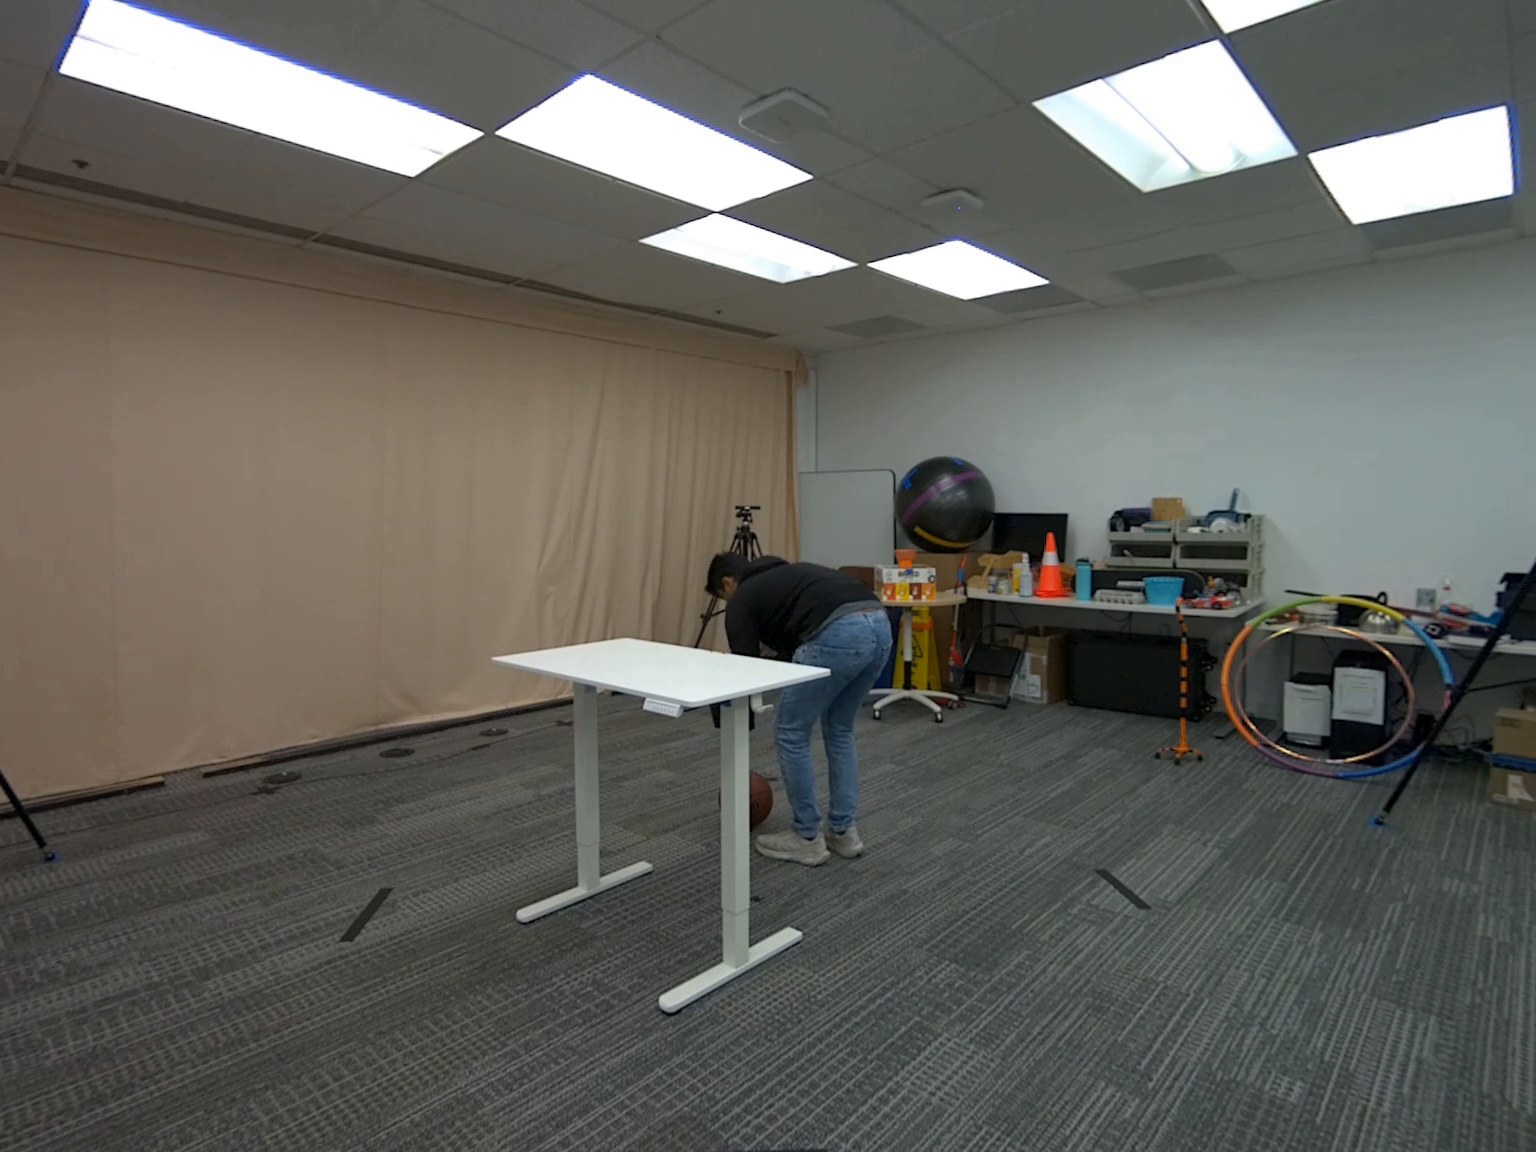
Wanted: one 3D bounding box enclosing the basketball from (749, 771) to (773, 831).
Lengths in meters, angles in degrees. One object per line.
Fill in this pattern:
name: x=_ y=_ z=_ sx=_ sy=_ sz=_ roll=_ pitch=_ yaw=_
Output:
basketball: x=-0.092 y=0.969 z=3.674 sx=0.236 sy=0.235 sz=0.237 roll=0 pitch=4 yaw=-2
